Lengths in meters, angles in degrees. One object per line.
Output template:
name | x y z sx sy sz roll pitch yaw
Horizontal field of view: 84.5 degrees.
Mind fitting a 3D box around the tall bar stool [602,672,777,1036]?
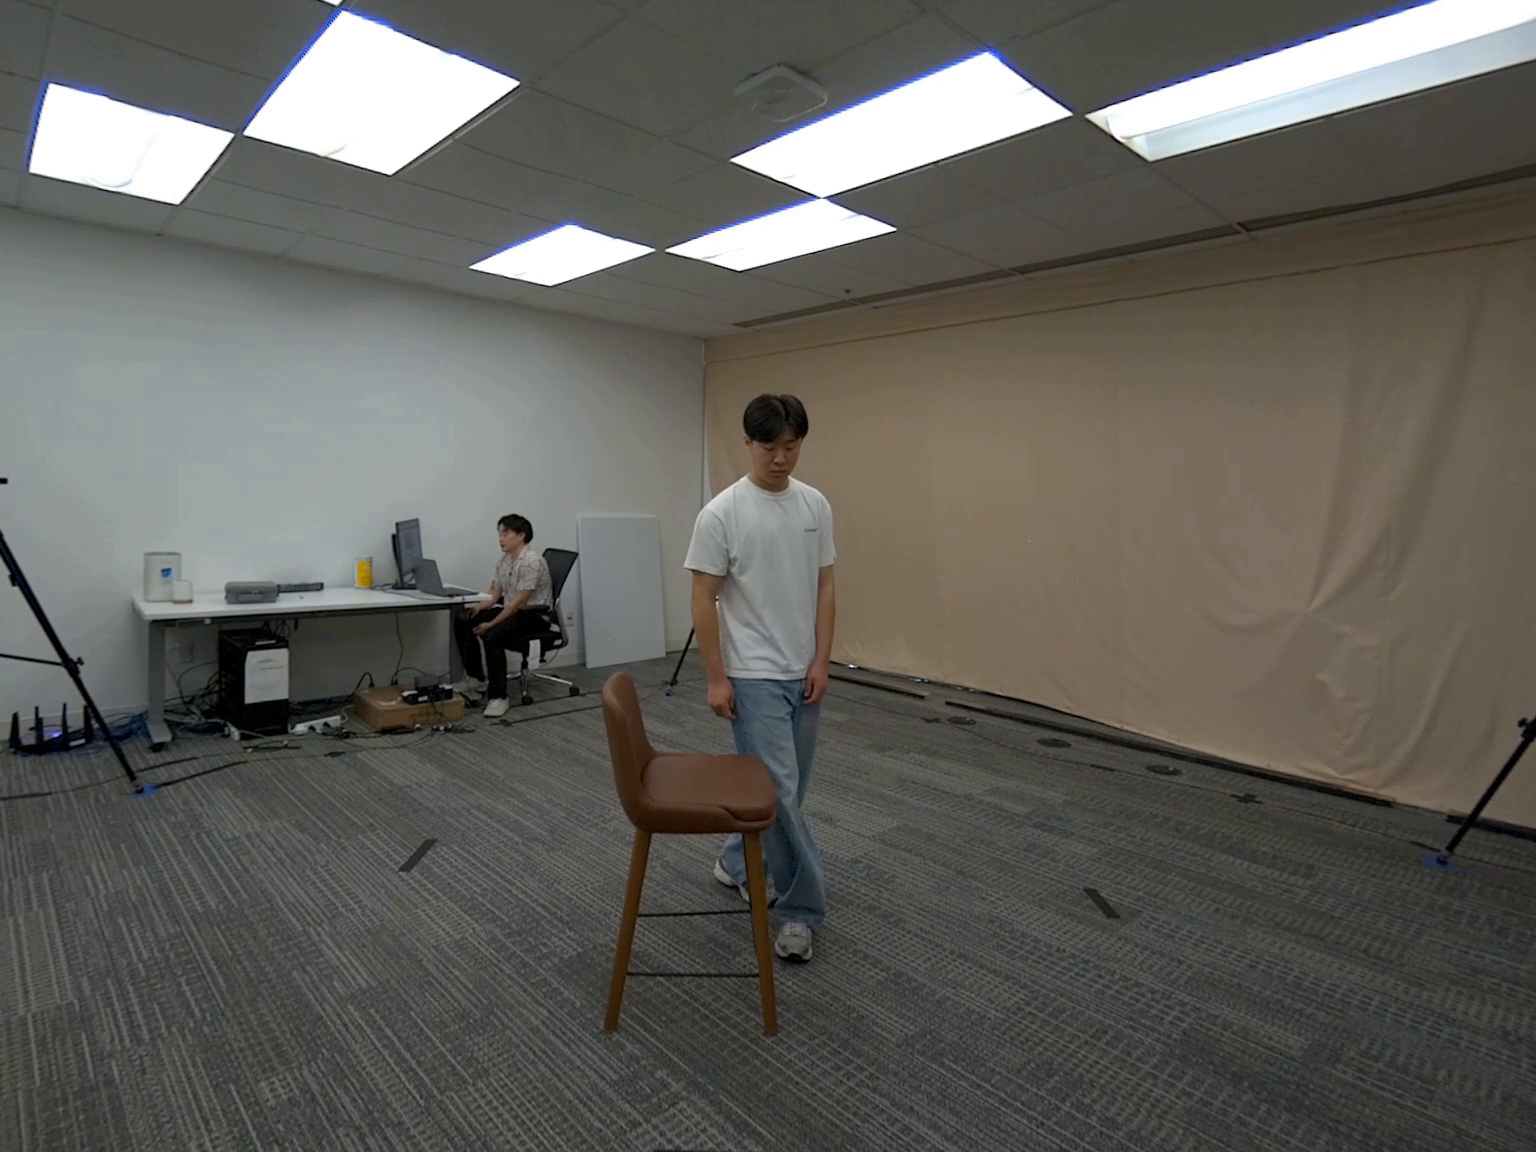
tall bar stool | -0.227 0.742 2.346 0.466 0.887 0.459 -1 4 -4
